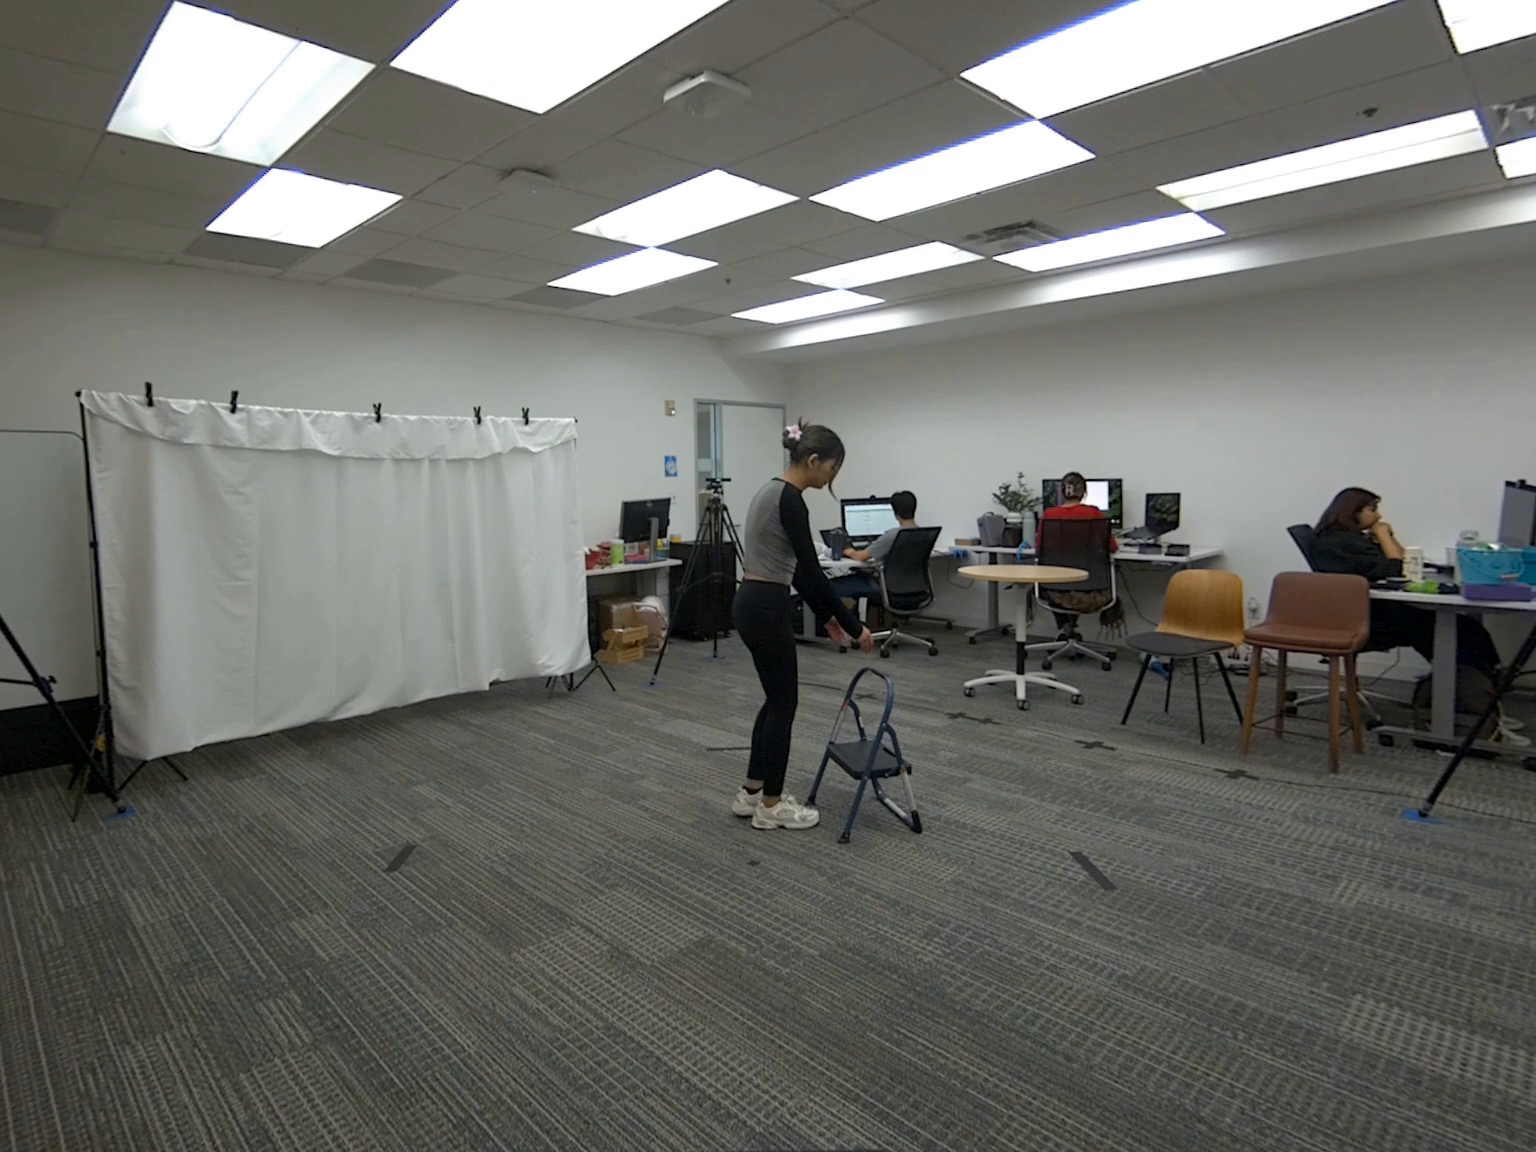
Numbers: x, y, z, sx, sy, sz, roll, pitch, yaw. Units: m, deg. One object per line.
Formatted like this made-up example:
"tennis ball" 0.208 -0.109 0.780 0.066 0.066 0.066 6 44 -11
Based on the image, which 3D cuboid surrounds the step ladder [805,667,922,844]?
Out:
"step ladder" 0.380 0.691 3.480 0.344 0.604 0.438 -2 4 -15
